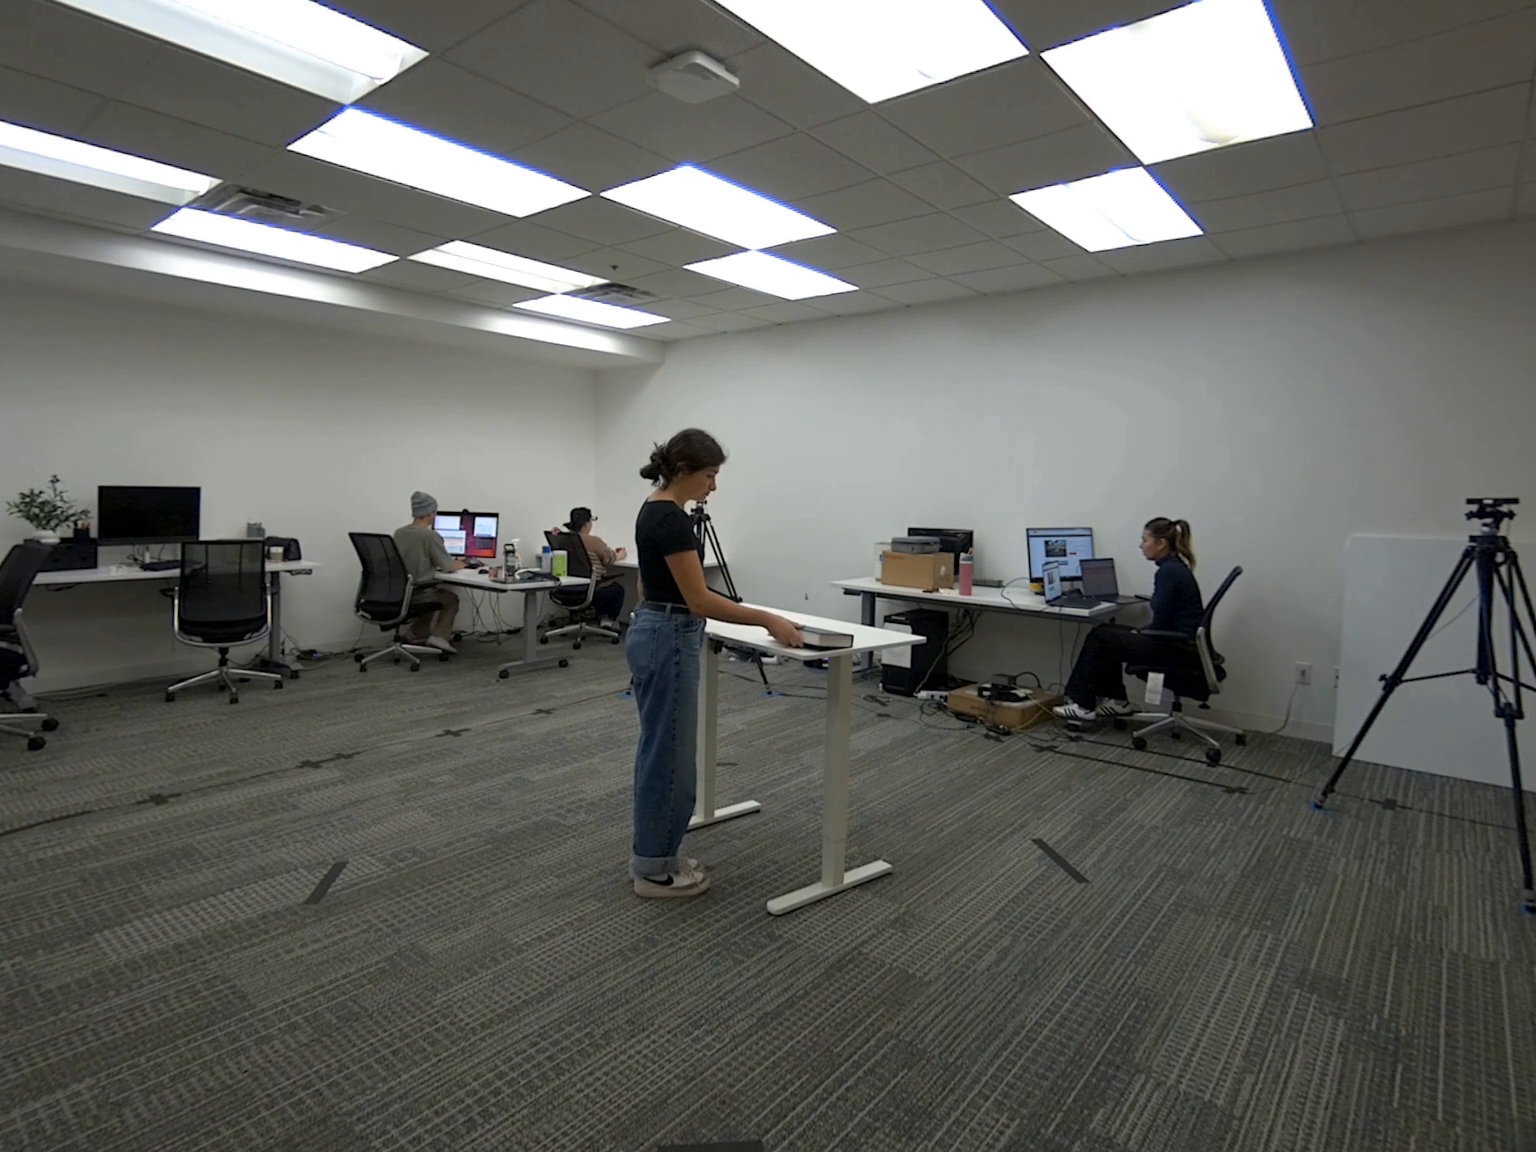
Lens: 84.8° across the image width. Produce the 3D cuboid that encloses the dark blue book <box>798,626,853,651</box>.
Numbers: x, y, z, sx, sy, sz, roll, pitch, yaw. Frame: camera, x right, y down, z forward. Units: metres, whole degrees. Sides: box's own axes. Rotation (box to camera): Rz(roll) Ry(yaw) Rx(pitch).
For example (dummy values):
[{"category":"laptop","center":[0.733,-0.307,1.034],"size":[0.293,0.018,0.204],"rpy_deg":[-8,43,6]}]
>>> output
[{"category":"dark blue book","center":[0.135,0.197,2.806],"size":[0.158,0.045,0.253],"rpy_deg":[6,2,-38]}]
